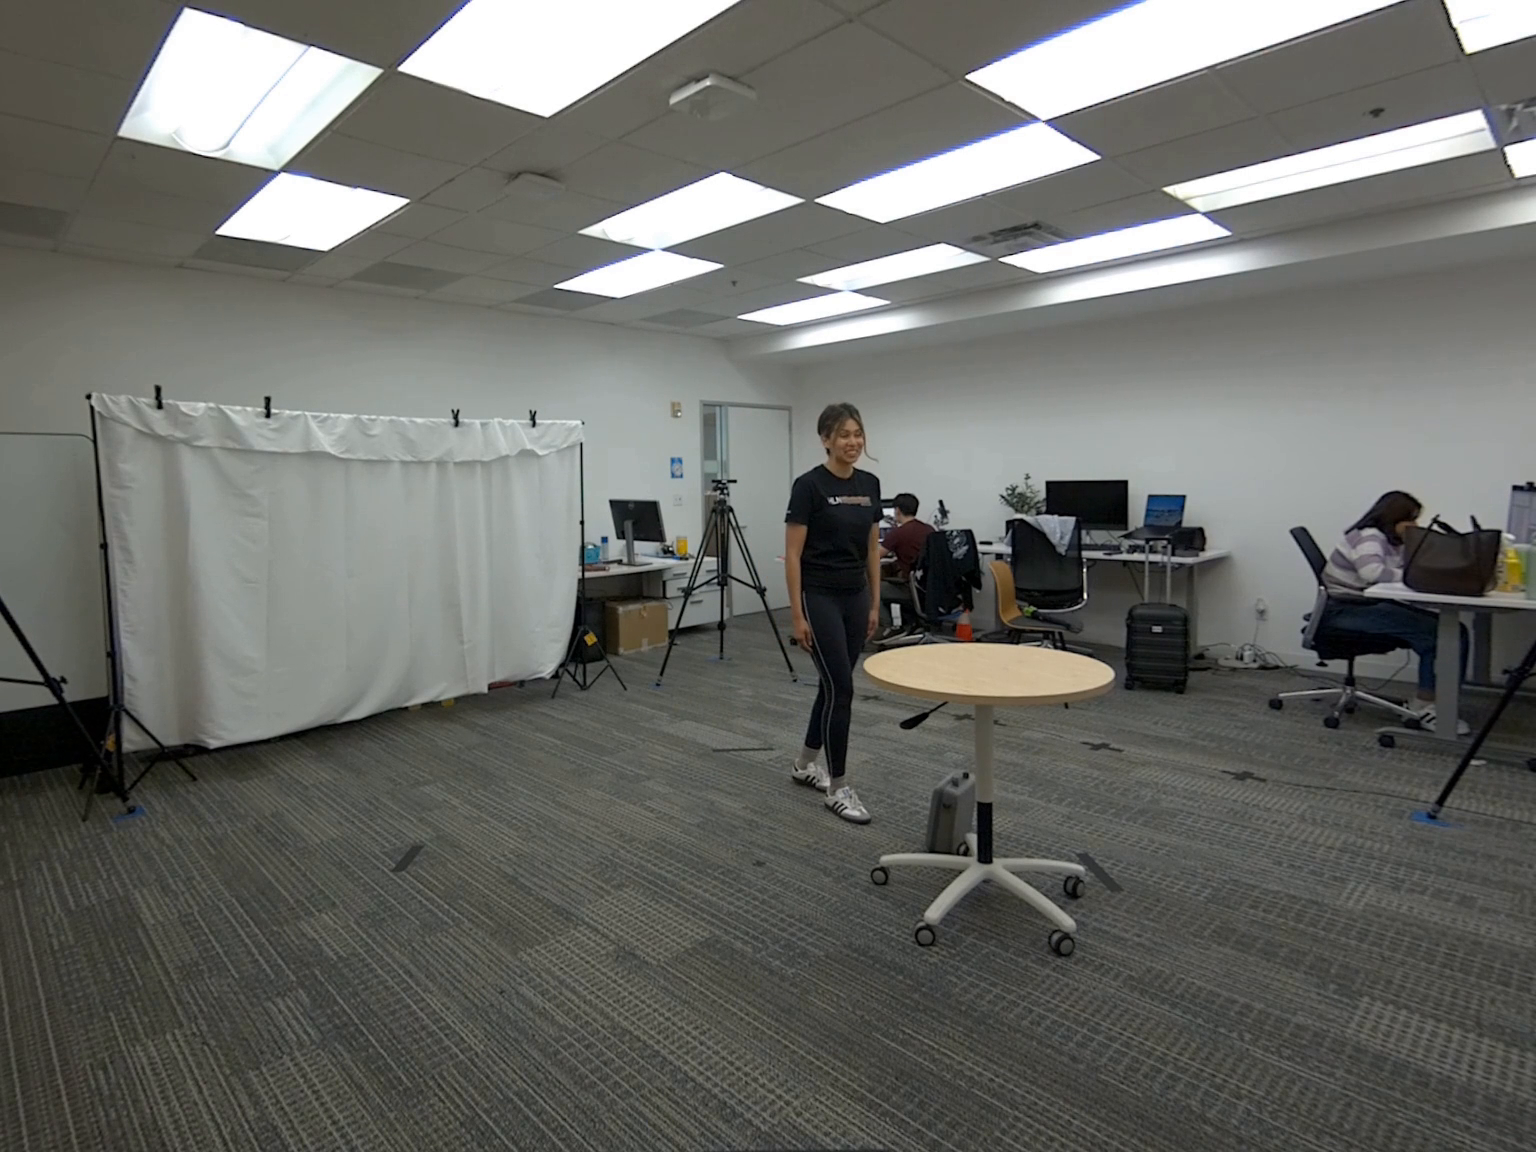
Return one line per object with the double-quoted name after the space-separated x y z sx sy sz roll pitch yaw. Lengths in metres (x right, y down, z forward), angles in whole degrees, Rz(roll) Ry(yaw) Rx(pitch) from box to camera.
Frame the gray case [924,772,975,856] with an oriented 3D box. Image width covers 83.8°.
0.701 0.886 3.234 0.107 0.259 0.251 10 10 33 "gray case"
